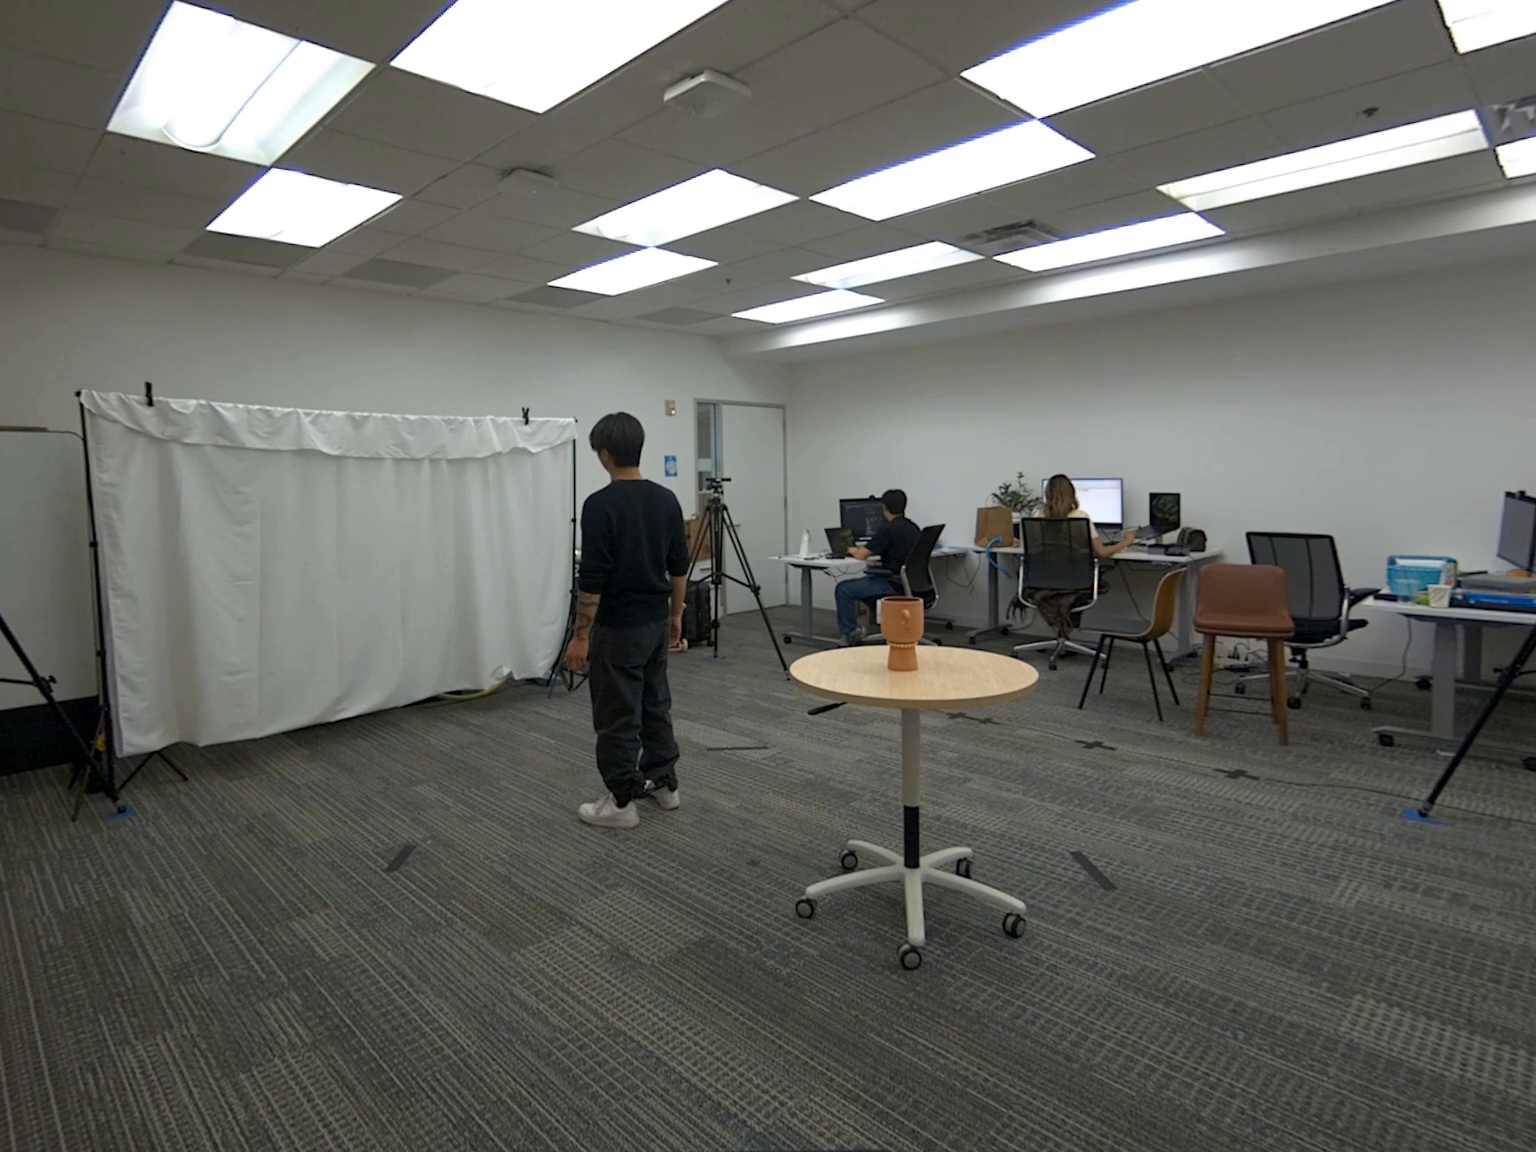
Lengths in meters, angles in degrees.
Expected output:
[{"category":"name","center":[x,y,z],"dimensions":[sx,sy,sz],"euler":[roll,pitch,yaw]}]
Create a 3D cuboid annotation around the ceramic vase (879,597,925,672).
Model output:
[{"category":"ceramic vase","center":[0.433,0.186,2.715],"dimensions":[0.138,0.219,0.155],"euler":[1,5,39]}]
